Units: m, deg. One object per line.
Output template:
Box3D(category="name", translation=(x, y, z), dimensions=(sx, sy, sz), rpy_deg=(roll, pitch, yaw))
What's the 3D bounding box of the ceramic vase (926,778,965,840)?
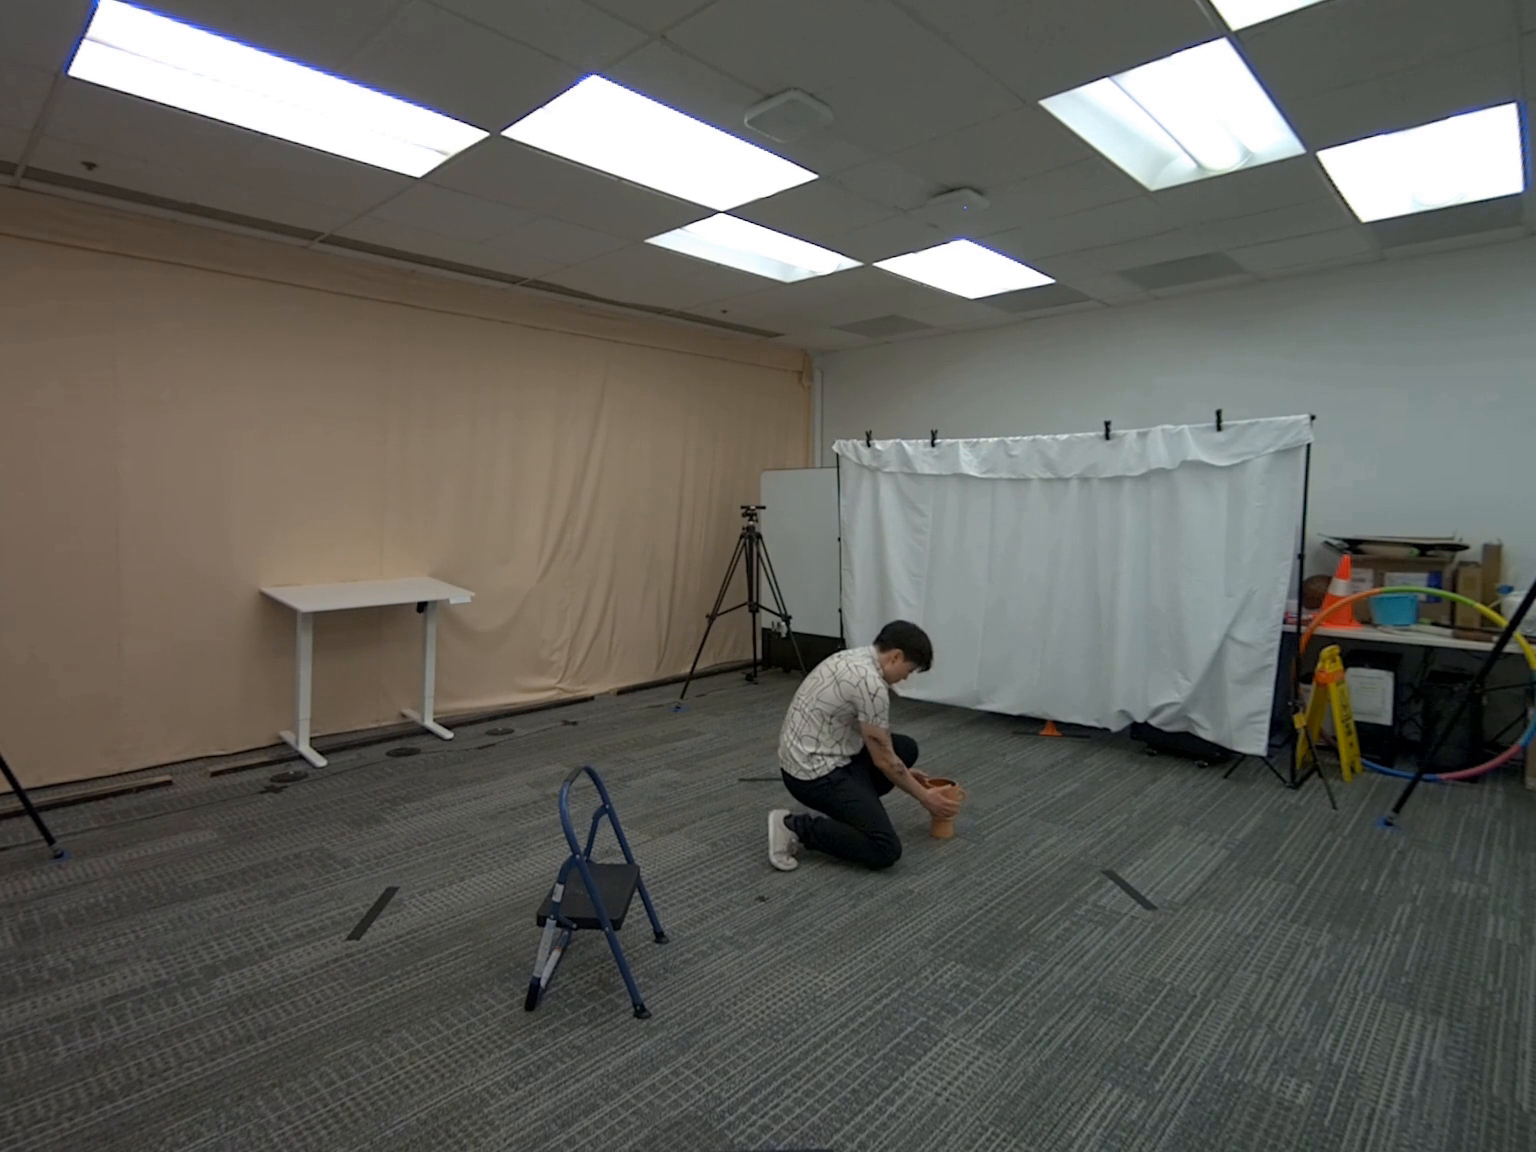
Box3D(category="ceramic vase", translation=(0.742, 0.984, 3.556), dimensions=(0.164, 0.219, 0.131), rpy_deg=(2, 4, 35))
